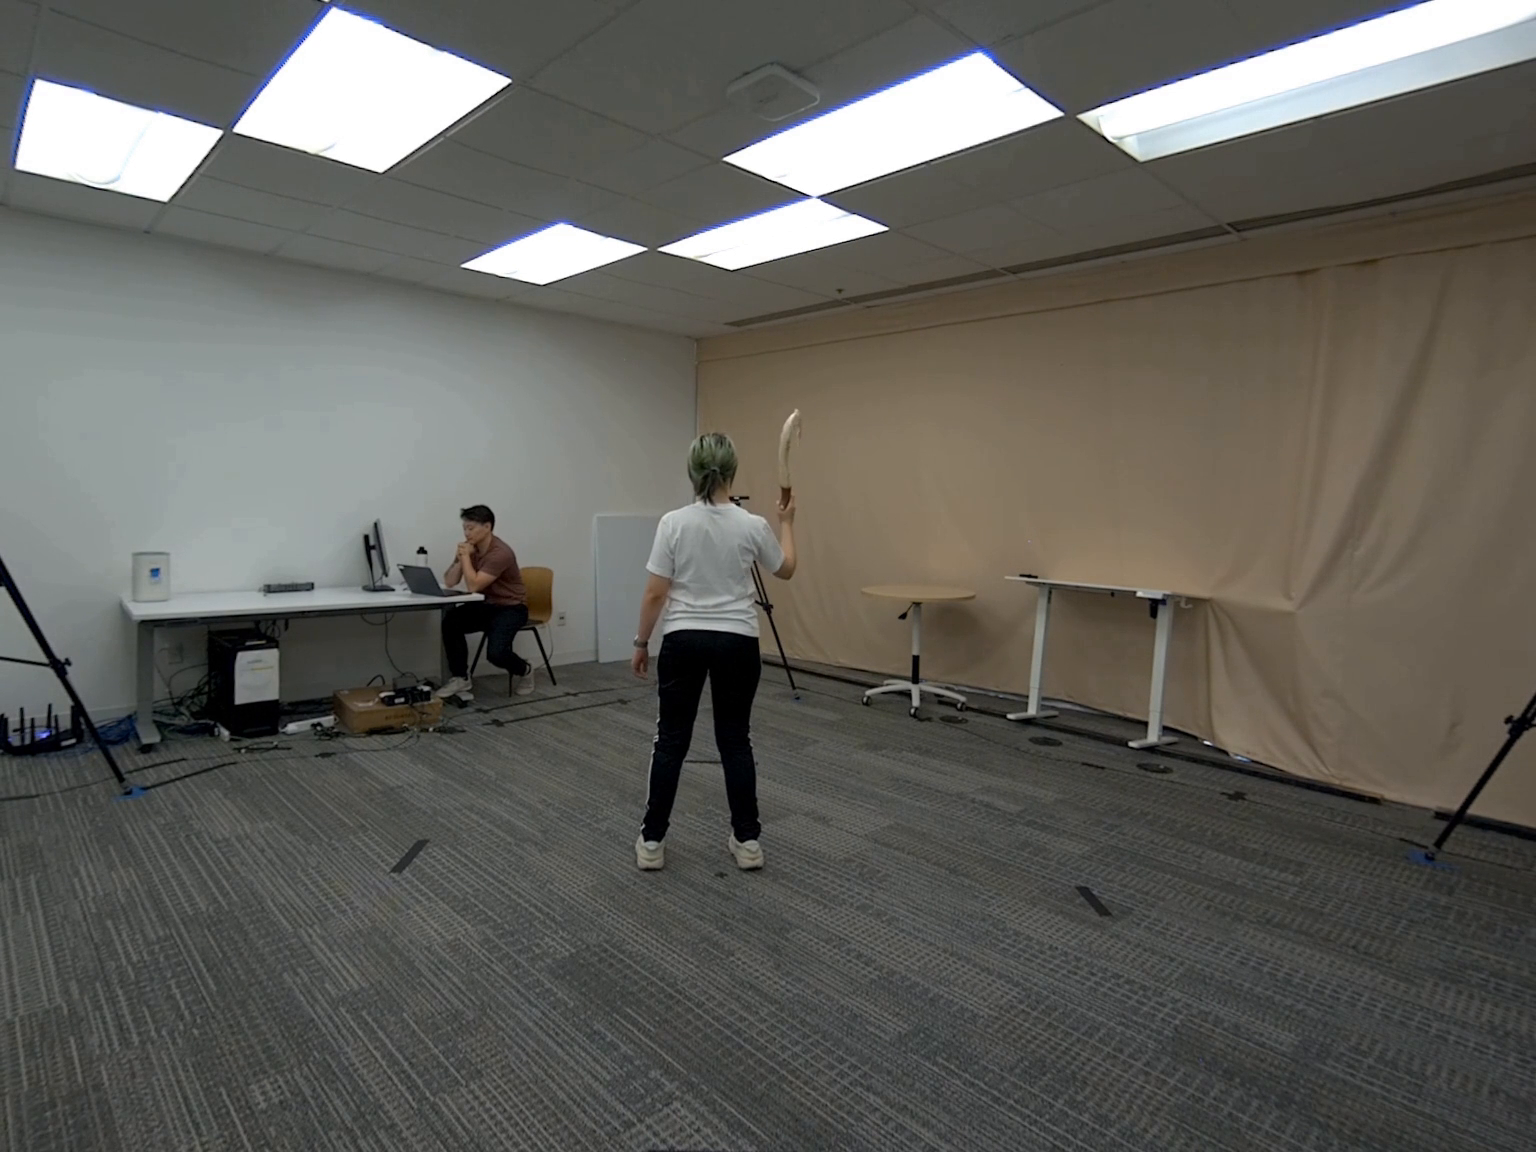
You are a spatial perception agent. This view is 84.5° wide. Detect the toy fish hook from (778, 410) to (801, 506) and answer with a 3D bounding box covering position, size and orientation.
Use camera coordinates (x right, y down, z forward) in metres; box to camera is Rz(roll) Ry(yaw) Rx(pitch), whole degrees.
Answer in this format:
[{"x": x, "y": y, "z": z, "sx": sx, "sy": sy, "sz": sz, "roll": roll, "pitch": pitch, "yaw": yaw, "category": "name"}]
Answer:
[{"x": 0.090, "y": -0.433, "z": 3.455, "sx": 0.049, "sy": 0.496, "sz": 0.225, "roll": 19, "pitch": 43, "yaw": 19, "category": "toy fish hook"}]
